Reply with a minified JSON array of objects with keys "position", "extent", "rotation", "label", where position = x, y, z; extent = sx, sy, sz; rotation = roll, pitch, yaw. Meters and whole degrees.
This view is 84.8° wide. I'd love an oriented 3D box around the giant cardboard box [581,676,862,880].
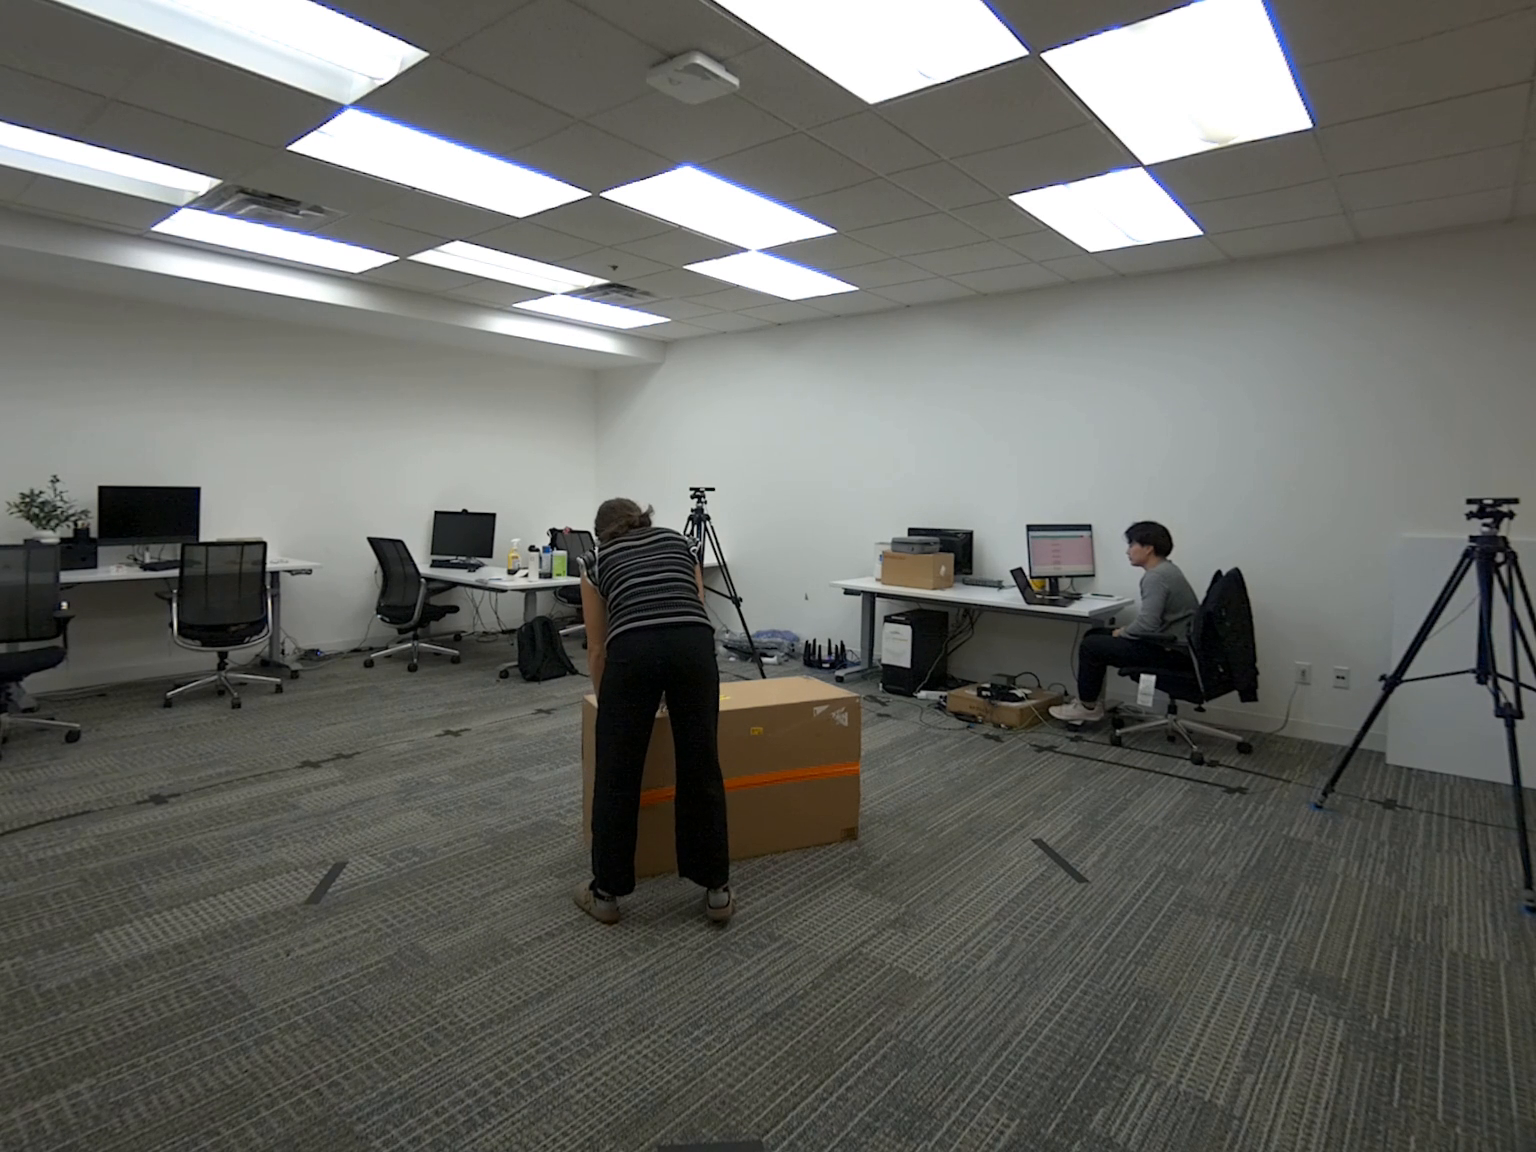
[{"position":[-0.187,0.754,3.373],"extent":[1.001,0.576,0.438],"rotation":[-2,4,-25],"label":"giant cardboard box"}]
